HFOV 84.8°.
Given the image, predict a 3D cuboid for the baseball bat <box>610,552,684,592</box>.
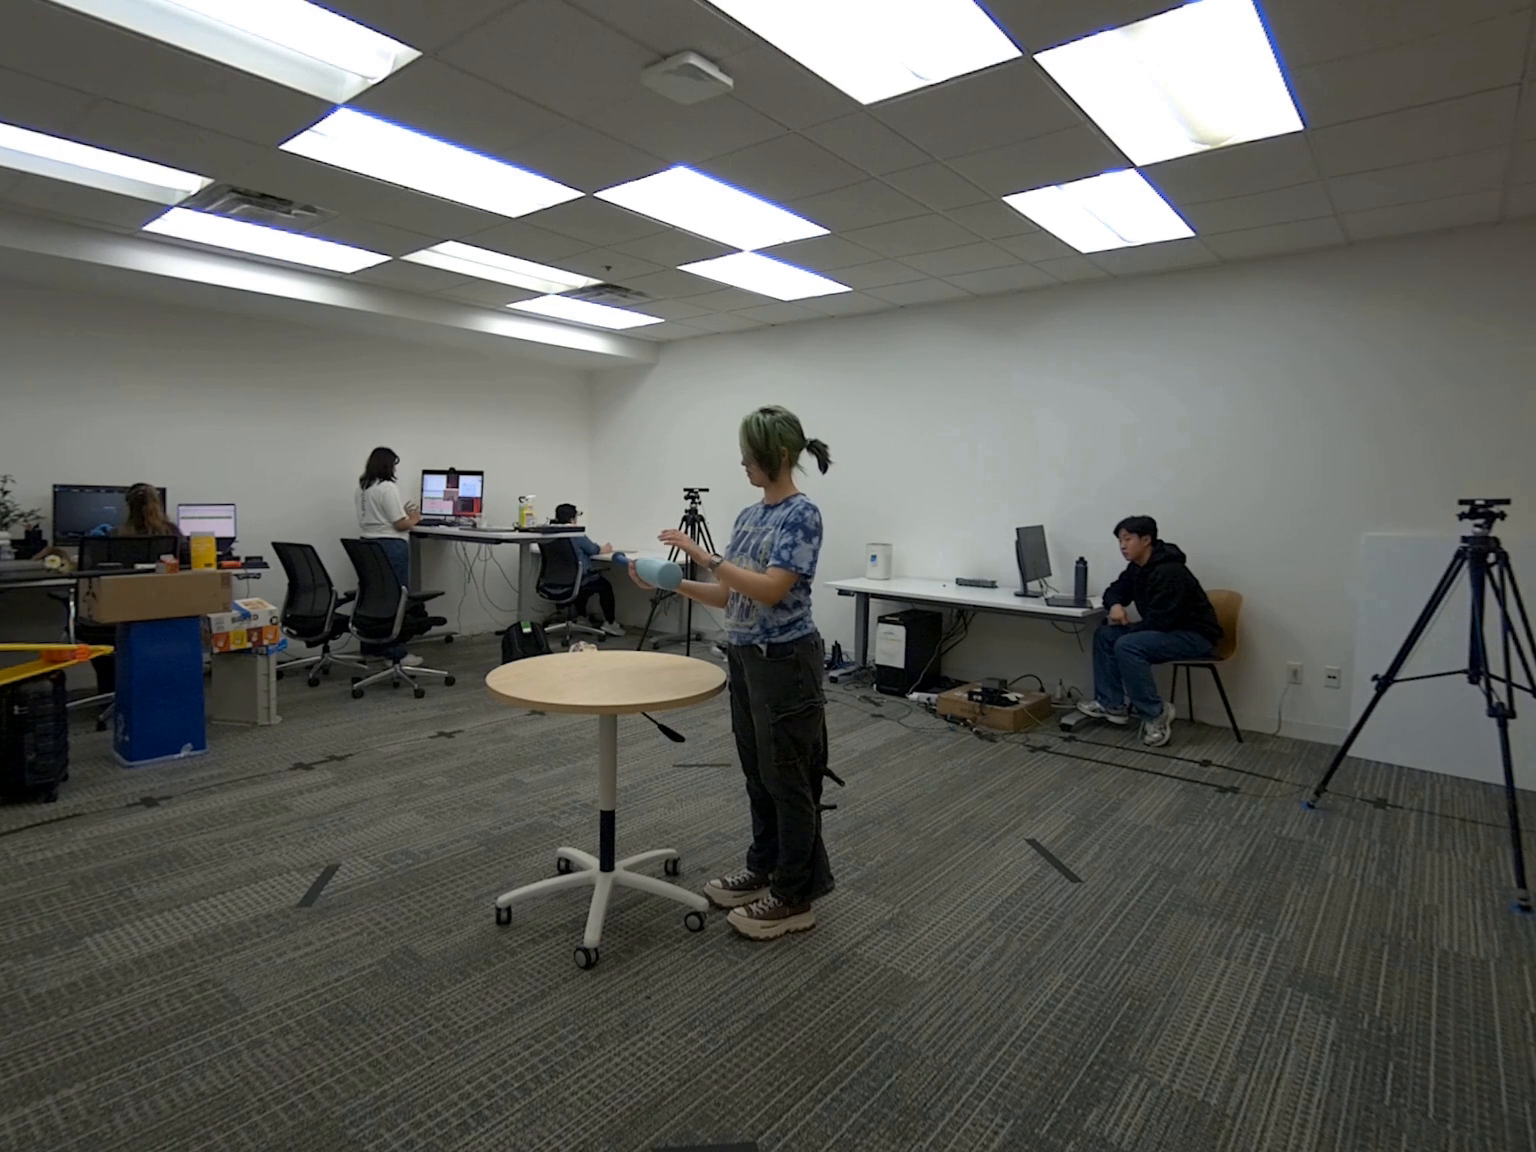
[{"bbox_3d":[-0.413,-0.028,2.747,0.087,0.088,0.558,-1,7,-25],"label":"baseball bat"}]
